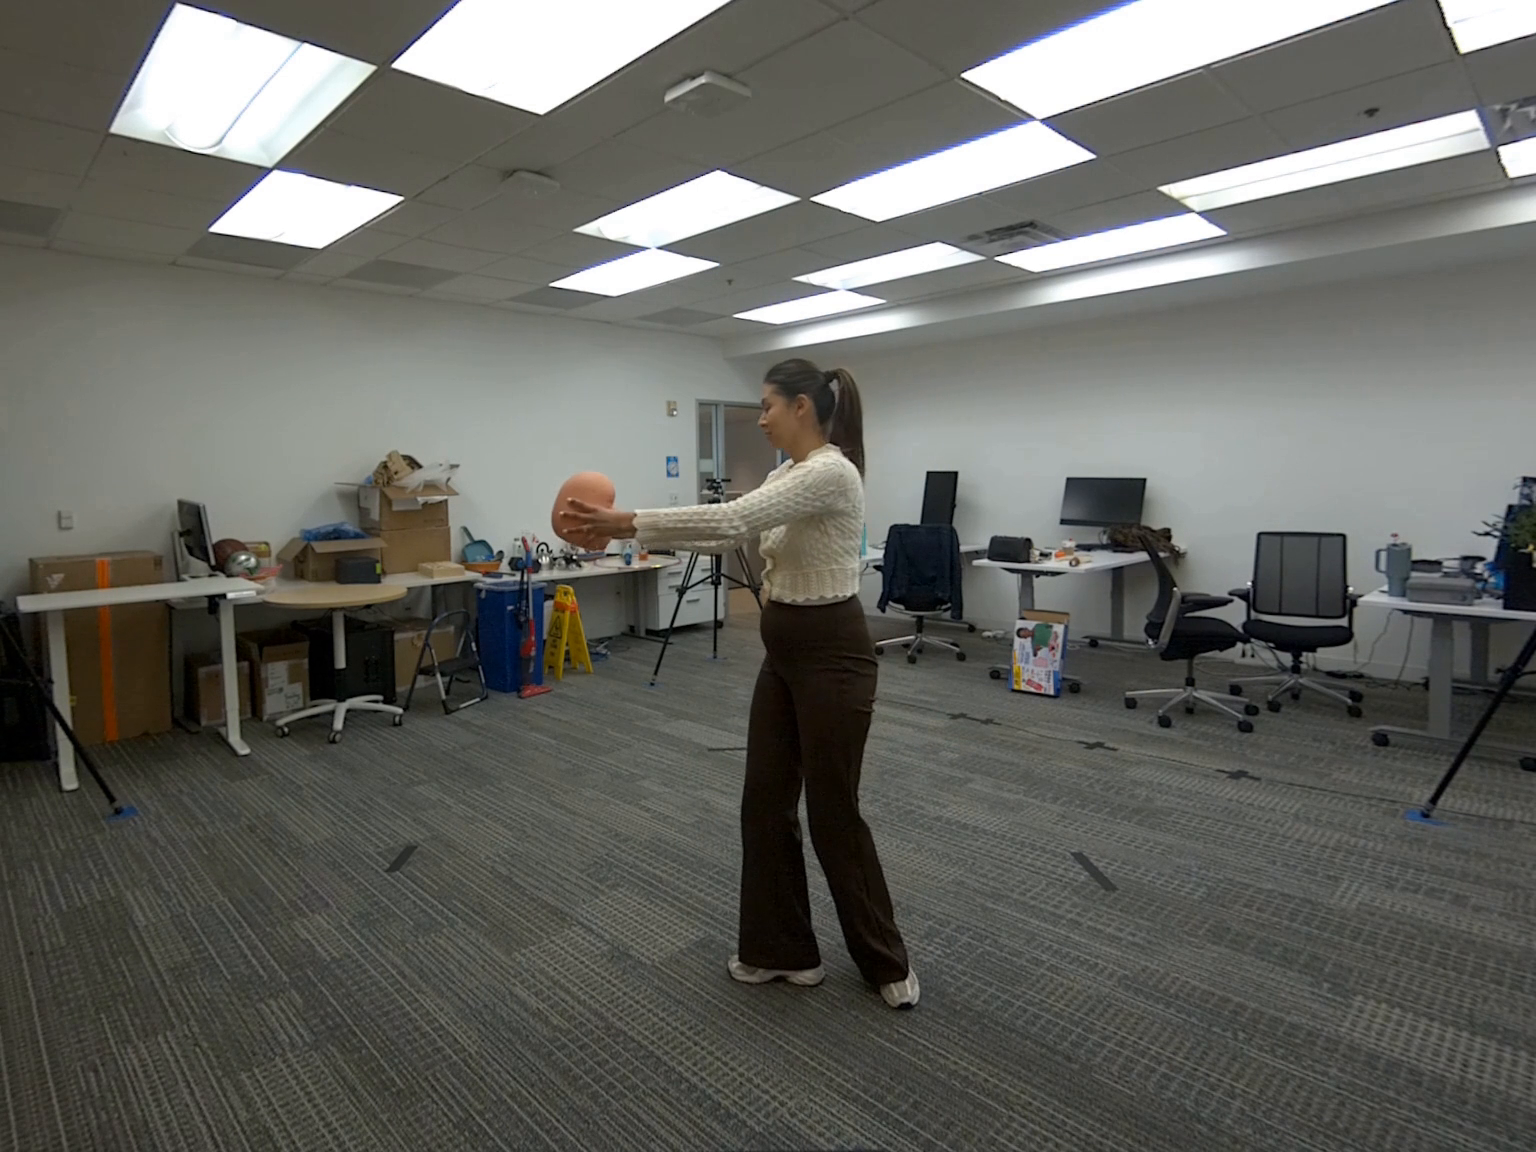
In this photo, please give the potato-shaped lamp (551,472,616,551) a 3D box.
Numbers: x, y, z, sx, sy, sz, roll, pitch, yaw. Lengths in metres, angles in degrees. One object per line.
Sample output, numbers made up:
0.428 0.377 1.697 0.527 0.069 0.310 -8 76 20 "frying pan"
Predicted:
-0.463 -0.183 2.251 0.165 0.198 0.170 4 -2 2 "potato-shaped lamp"
